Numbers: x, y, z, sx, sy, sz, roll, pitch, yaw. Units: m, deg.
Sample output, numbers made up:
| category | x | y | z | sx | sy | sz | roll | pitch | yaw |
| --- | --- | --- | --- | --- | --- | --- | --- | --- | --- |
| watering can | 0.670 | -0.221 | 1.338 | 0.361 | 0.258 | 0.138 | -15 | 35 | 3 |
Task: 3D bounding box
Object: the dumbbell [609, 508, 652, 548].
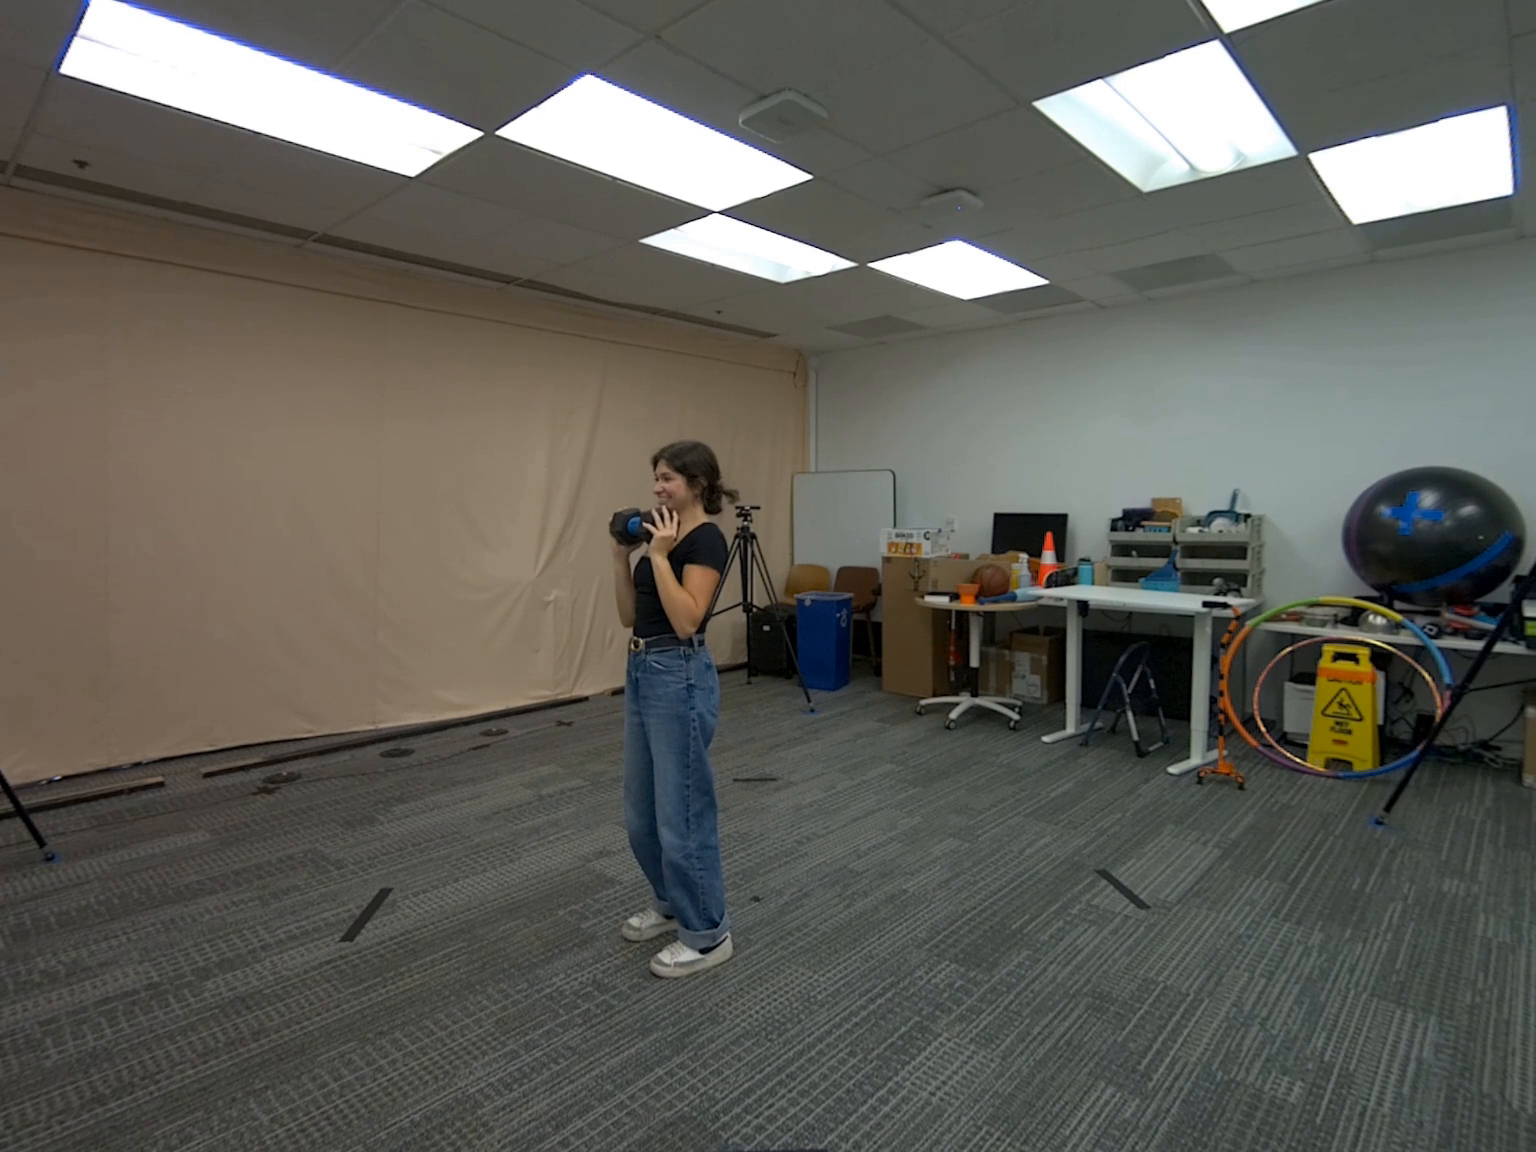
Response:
| category | x | y | z | sx | sy | sz | roll | pitch | yaw |
| --- | --- | --- | --- | --- | --- | --- | --- | --- | --- |
| dumbbell | -0.374 | -0.152 | 2.594 | 0.119 | 0.108 | 0.303 | 49 | -21 | -27 |
